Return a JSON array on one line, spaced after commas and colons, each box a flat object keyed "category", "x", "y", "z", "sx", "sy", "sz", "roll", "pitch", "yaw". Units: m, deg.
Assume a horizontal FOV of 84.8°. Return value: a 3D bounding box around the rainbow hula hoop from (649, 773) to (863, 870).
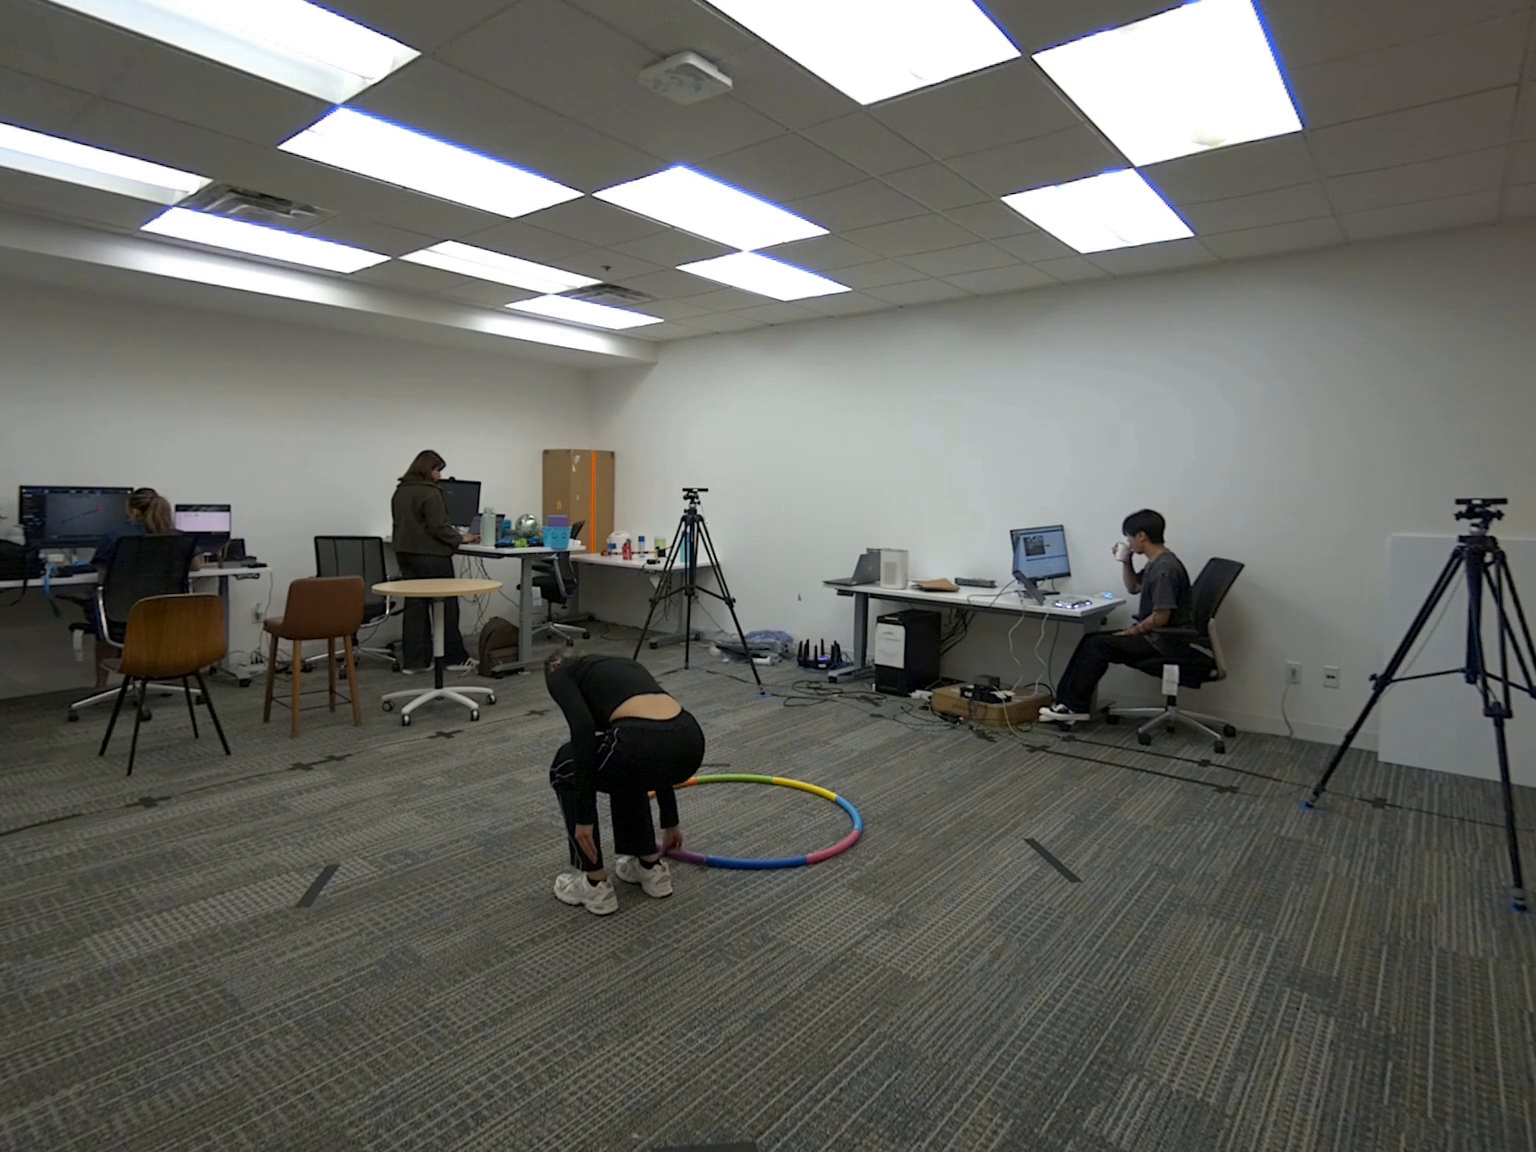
[{"category": "rainbow hula hoop", "x": -0.114, "y": 0.995, "z": 3.589, "sx": 0.978, "sy": 0.035, "sz": 0.984, "roll": 1, "pitch": 6, "yaw": -2}]
